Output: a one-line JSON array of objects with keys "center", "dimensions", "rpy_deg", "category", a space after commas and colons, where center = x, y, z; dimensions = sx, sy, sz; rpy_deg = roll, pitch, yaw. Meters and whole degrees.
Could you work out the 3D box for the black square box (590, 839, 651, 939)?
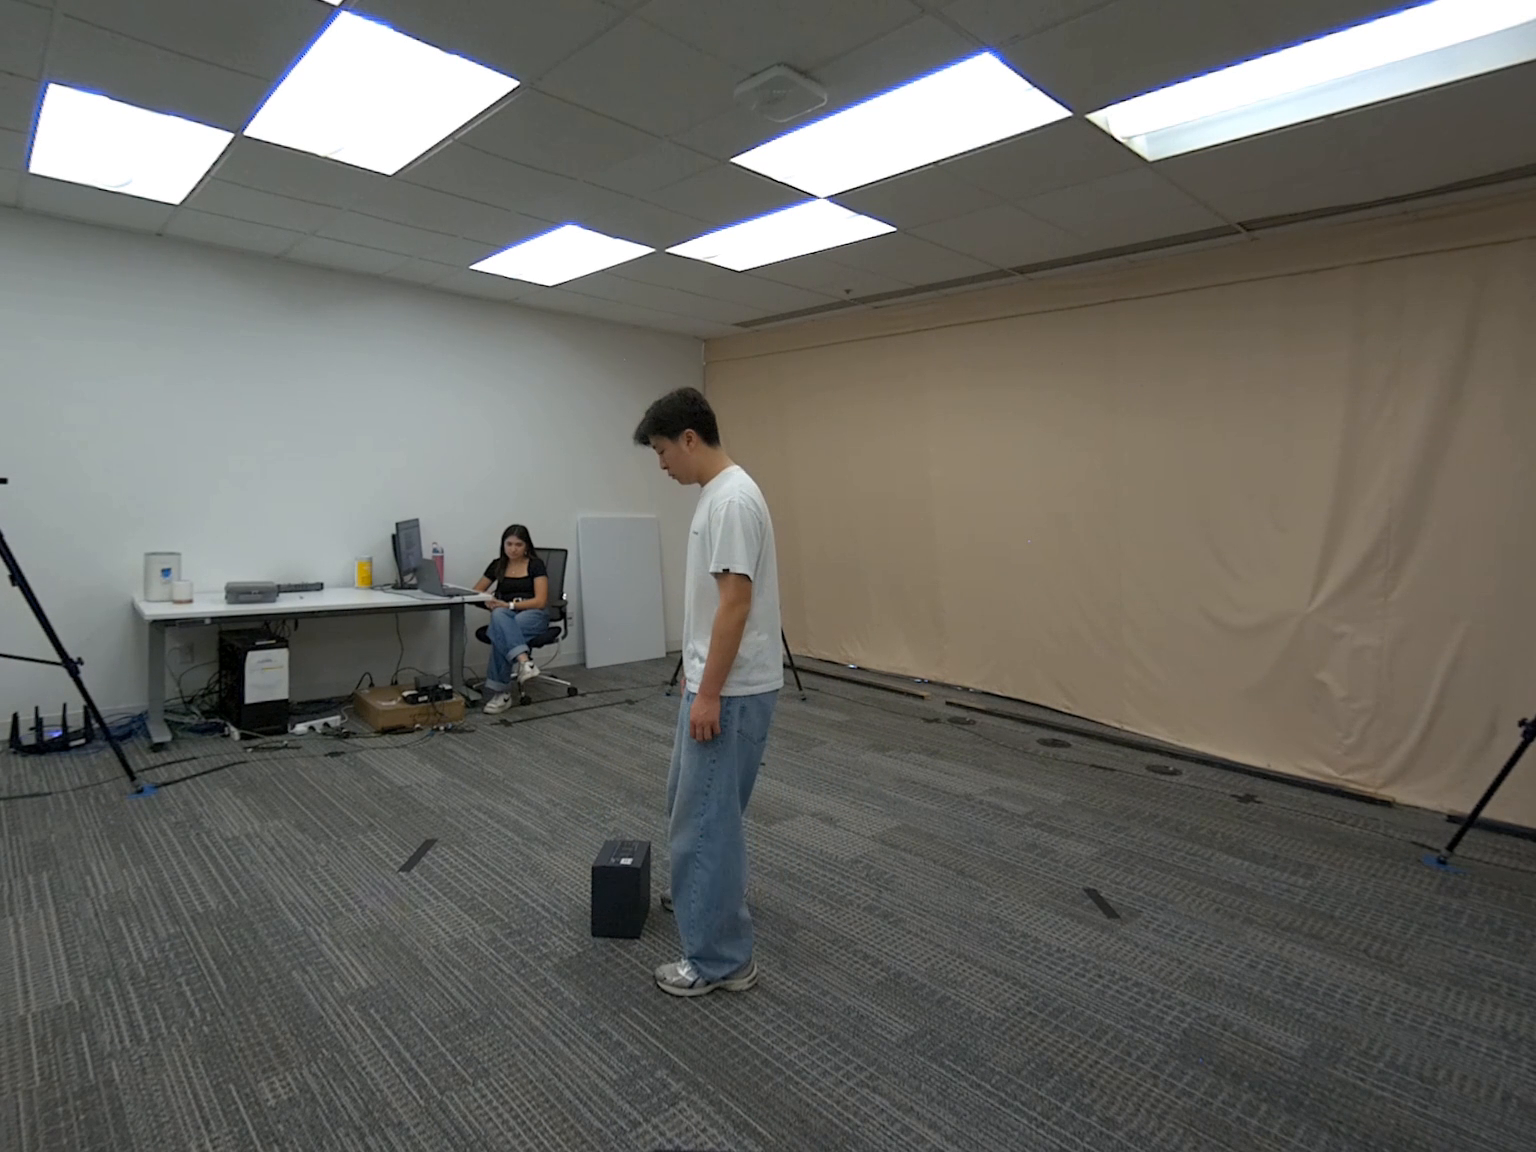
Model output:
[{"center": [-0.484, 1.012, 2.740], "dimensions": [0.156, 0.227, 0.217], "rpy_deg": [1, 4, 1], "category": "black square box"}]
